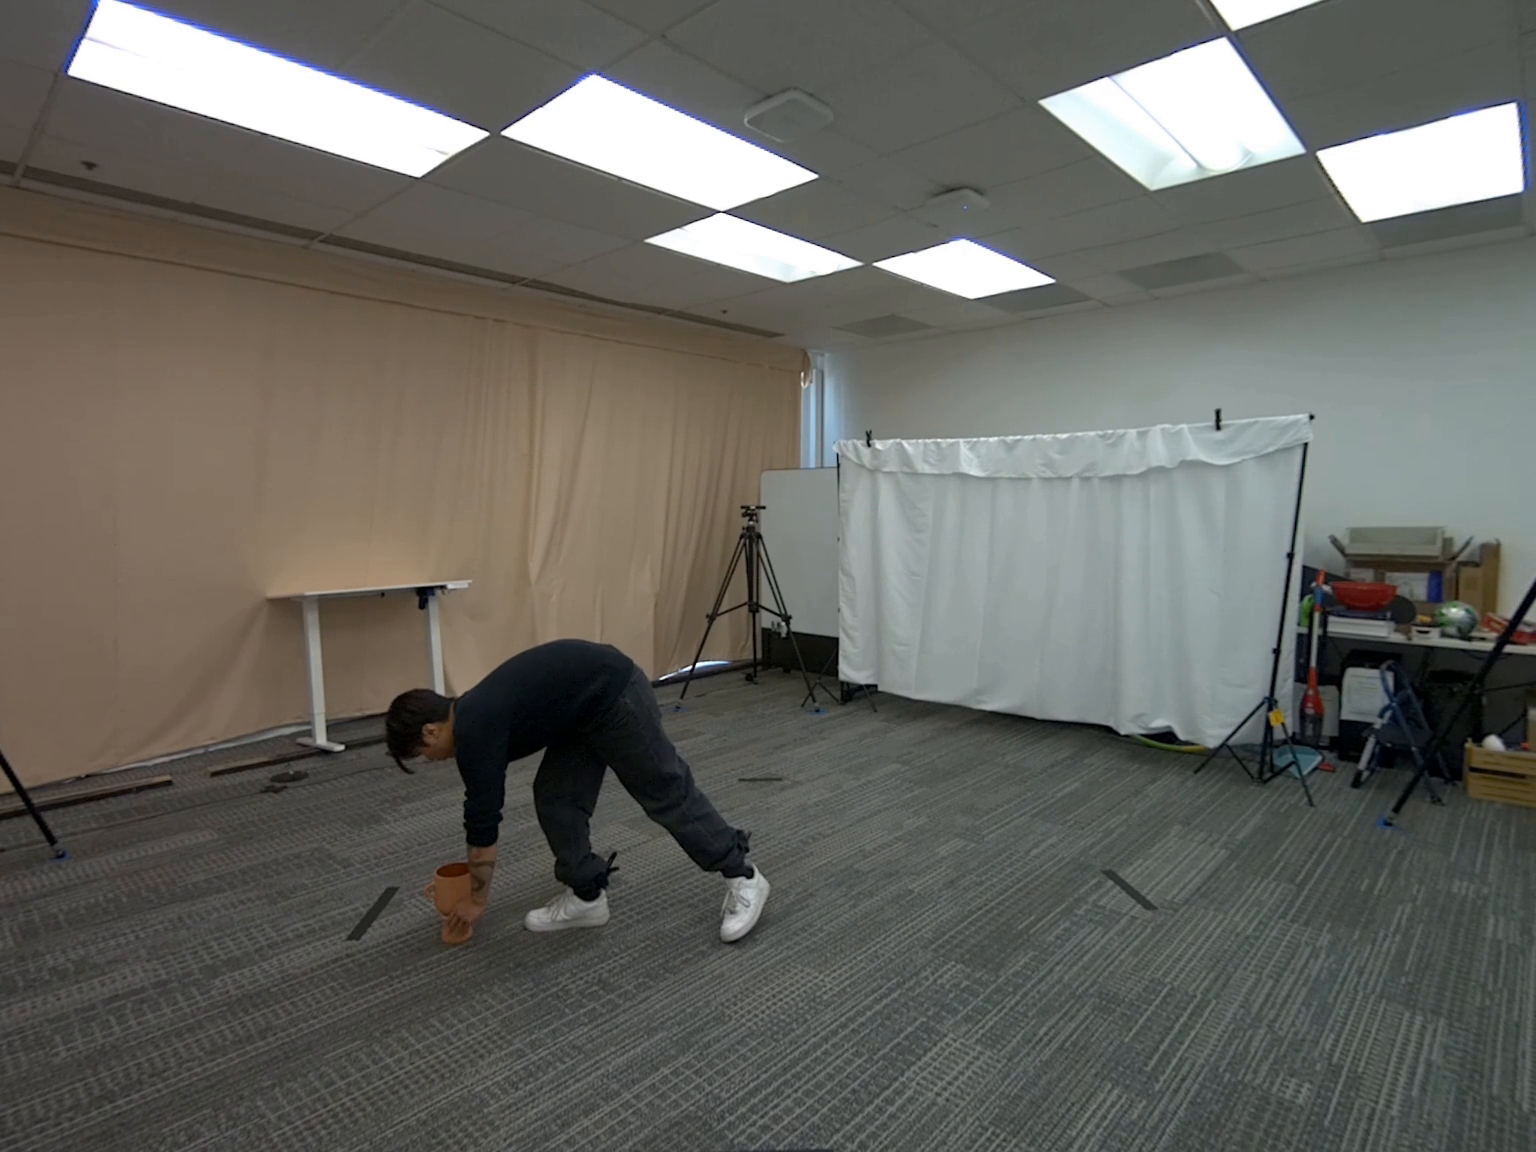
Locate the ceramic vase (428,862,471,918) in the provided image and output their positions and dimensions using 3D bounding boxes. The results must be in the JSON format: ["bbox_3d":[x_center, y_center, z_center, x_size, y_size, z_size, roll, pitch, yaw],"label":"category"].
[{"bbox_3d":[-1.015,1.065,2.733,0.160,0.219,0.134,0,4,8],"label":"ceramic vase"}]
